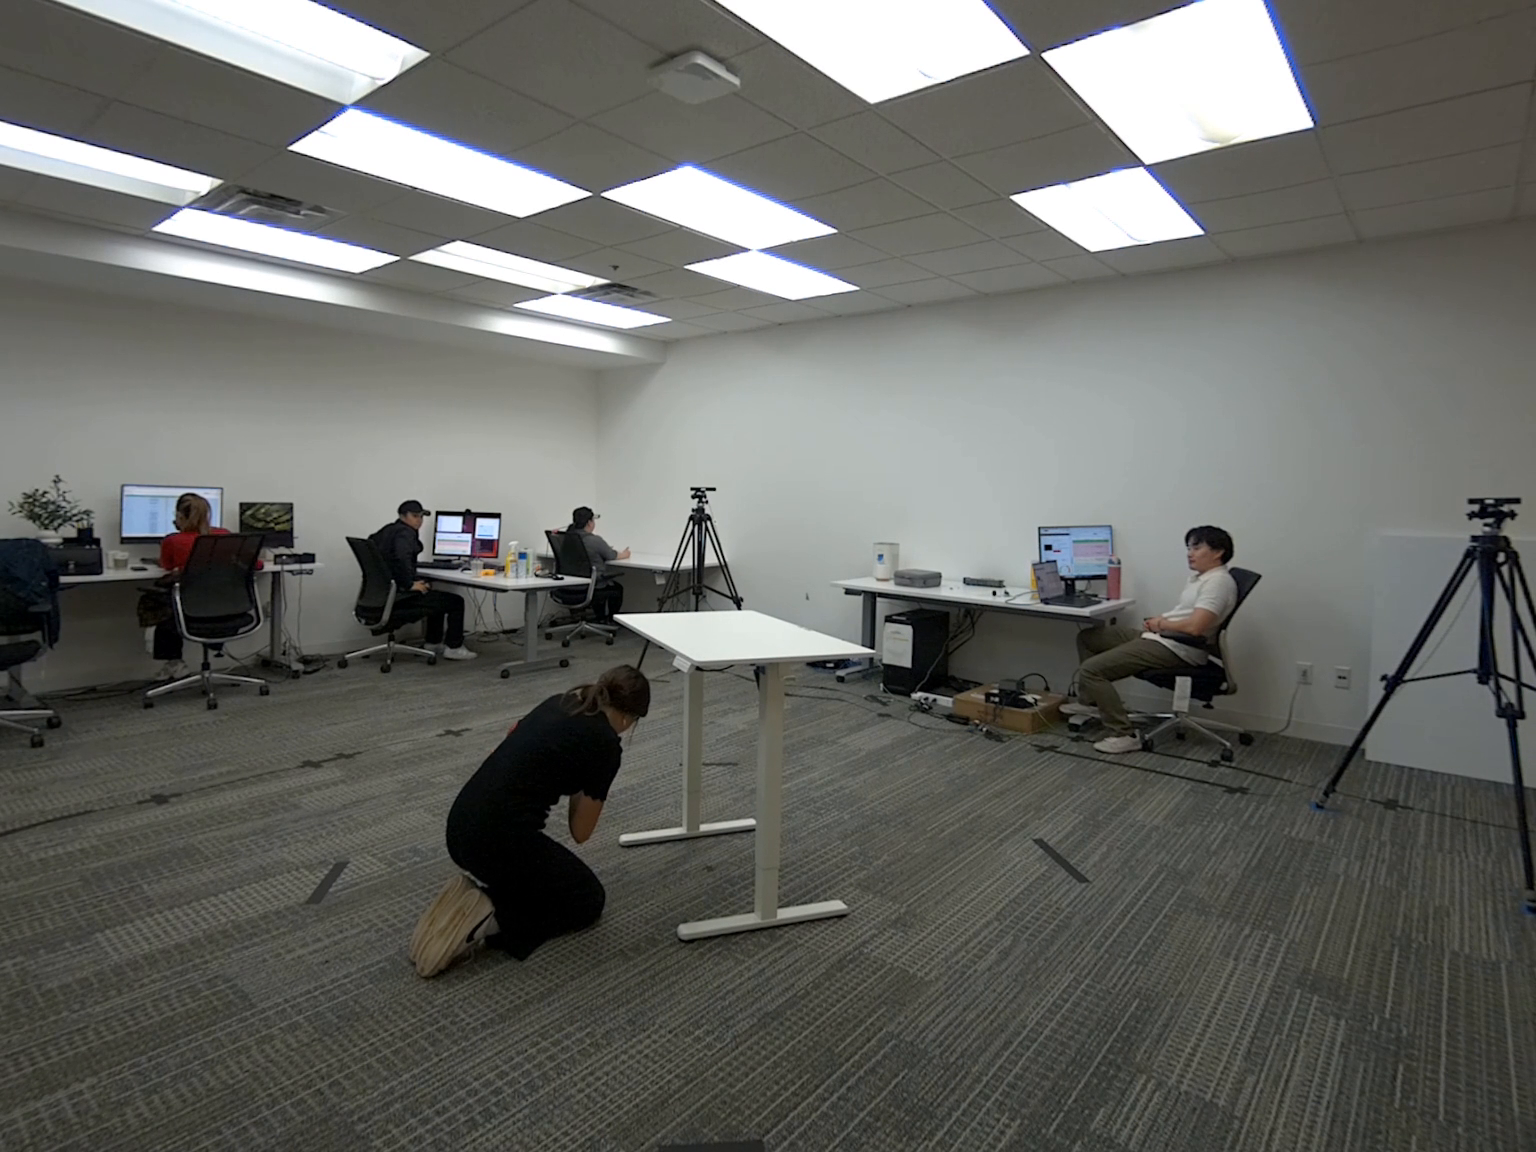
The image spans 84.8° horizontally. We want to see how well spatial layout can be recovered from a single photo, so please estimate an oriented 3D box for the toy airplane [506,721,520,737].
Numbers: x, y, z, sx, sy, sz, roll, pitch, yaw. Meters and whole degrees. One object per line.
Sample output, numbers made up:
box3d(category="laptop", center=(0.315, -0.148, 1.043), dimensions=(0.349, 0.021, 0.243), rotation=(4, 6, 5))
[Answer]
box3d(category="toy airplane", center=(-0.798, 0.605, 2.850), dimensions=(0.259, 0.253, 0.155), rotation=(-26, -6, -1))
